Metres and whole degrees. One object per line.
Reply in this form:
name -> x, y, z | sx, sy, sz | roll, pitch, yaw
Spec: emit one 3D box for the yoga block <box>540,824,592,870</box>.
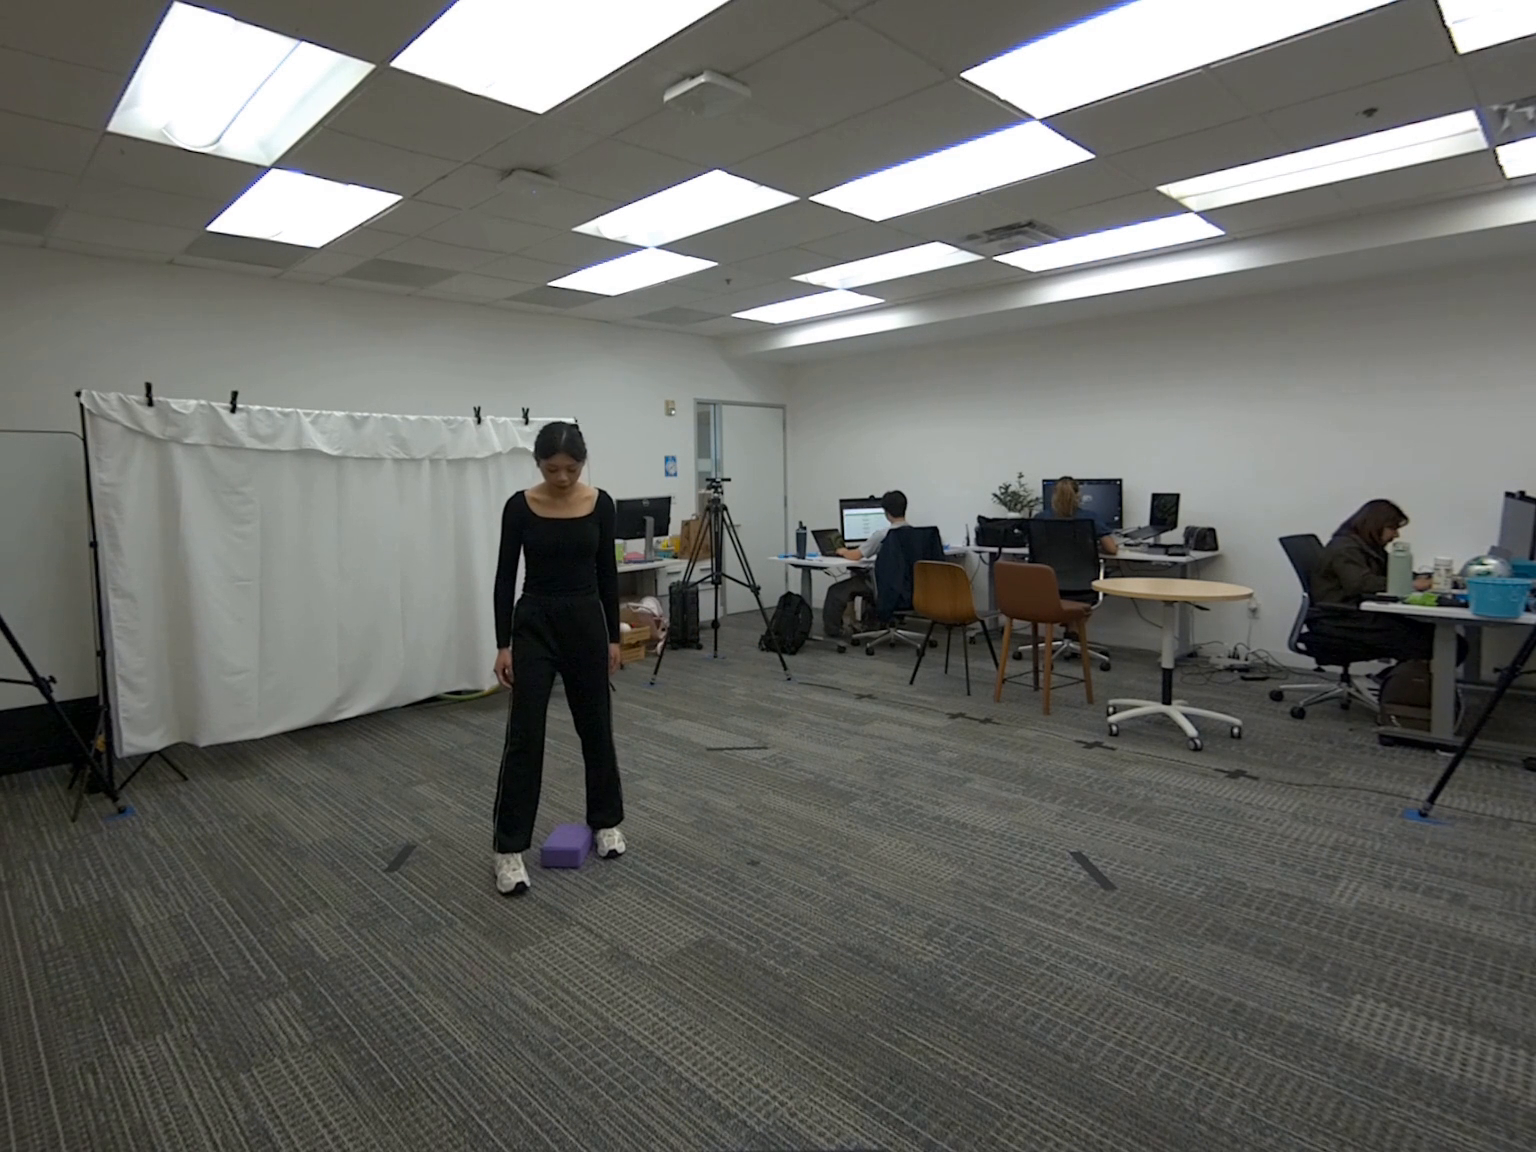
yoga block -> -0.745, 1.008, 3.193 | 0.149, 0.076, 0.229 | -1, 5, 2
